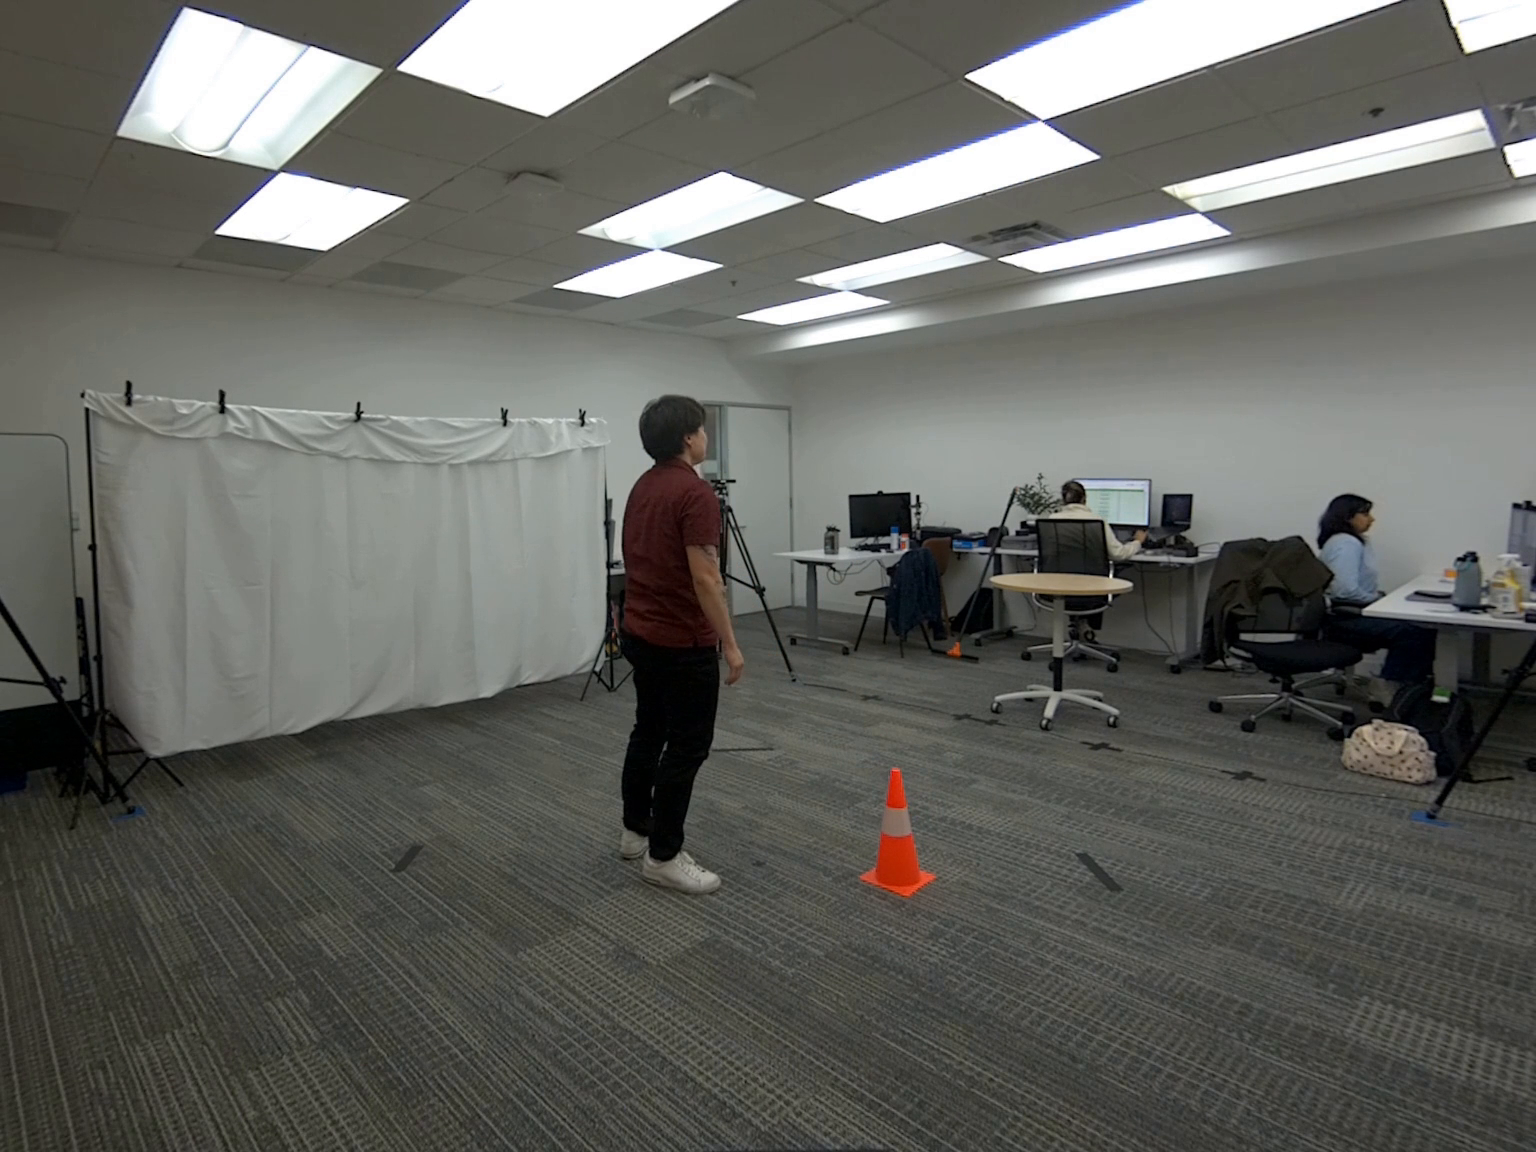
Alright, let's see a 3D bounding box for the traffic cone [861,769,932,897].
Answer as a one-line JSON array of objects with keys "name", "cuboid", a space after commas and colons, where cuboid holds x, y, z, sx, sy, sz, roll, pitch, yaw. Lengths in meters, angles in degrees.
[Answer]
[{"name": "traffic cone", "cuboid": [0.452, 0.869, 2.970, 0.200, 0.382, 0.209, -3, 4, -29]}]
